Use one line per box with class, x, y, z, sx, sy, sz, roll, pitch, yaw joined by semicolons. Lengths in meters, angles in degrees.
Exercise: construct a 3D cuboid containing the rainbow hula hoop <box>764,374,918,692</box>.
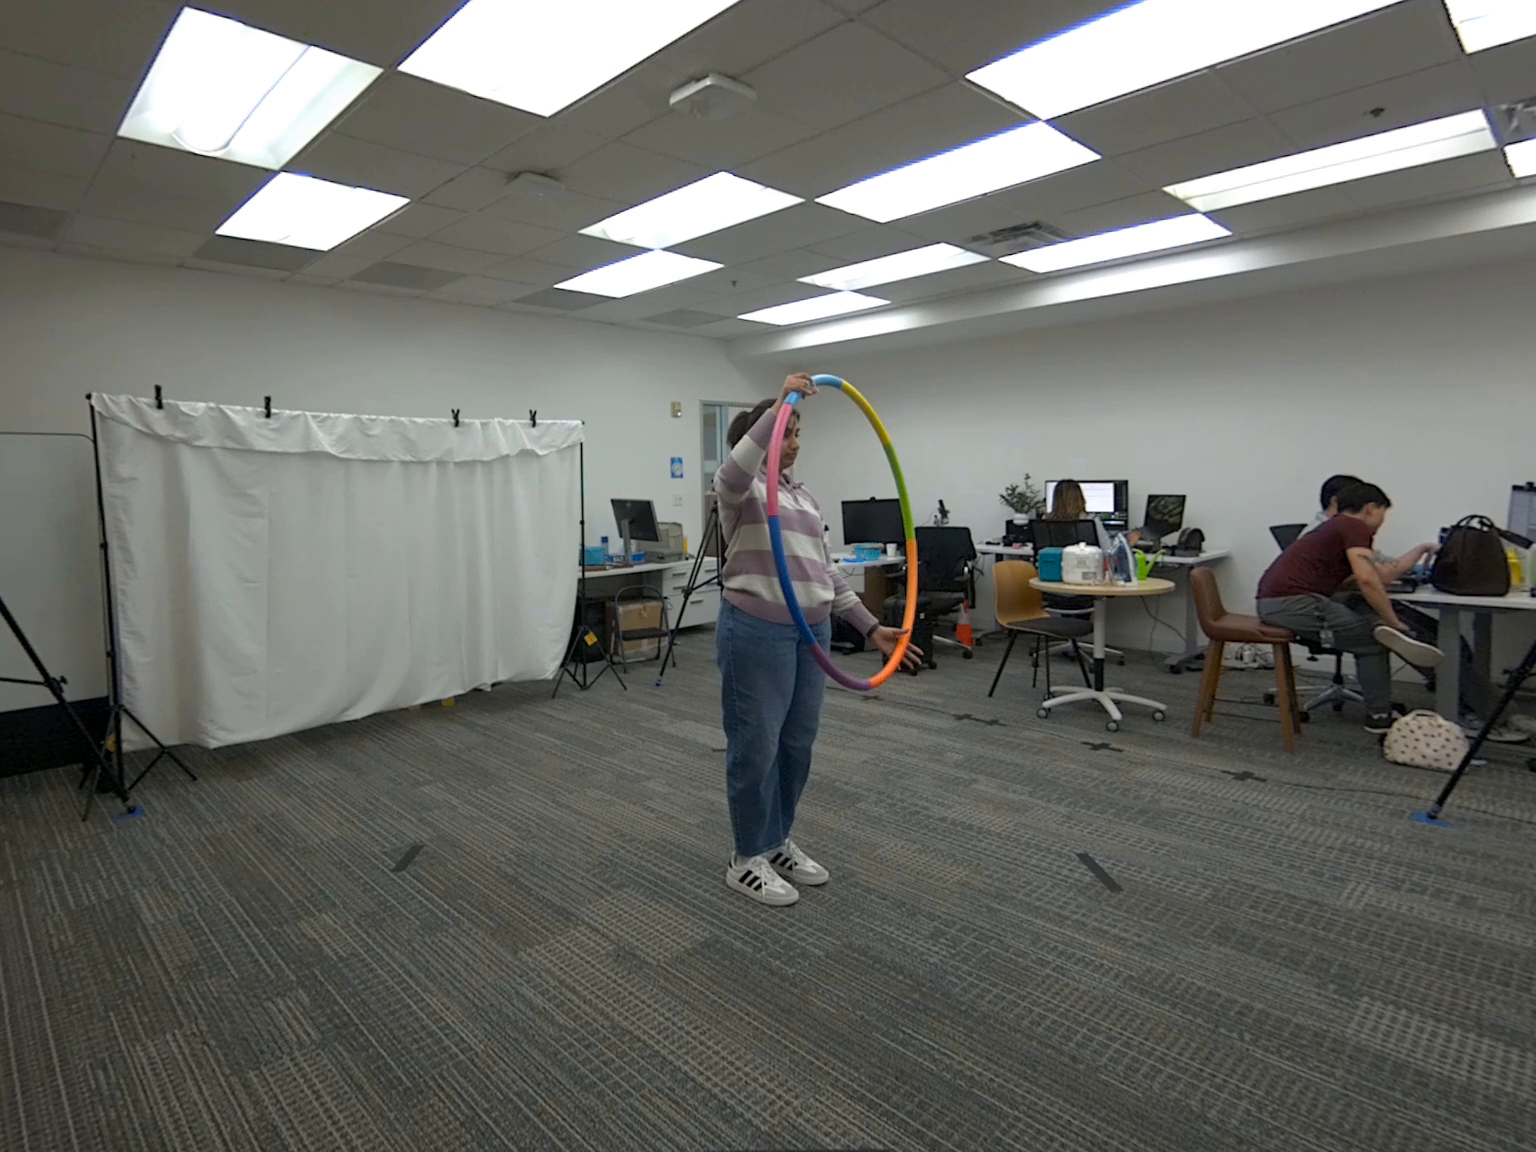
rainbow hula hoop;0.268;-0.144;2.698;0.036;0.980;0.956;-10;-1;33
